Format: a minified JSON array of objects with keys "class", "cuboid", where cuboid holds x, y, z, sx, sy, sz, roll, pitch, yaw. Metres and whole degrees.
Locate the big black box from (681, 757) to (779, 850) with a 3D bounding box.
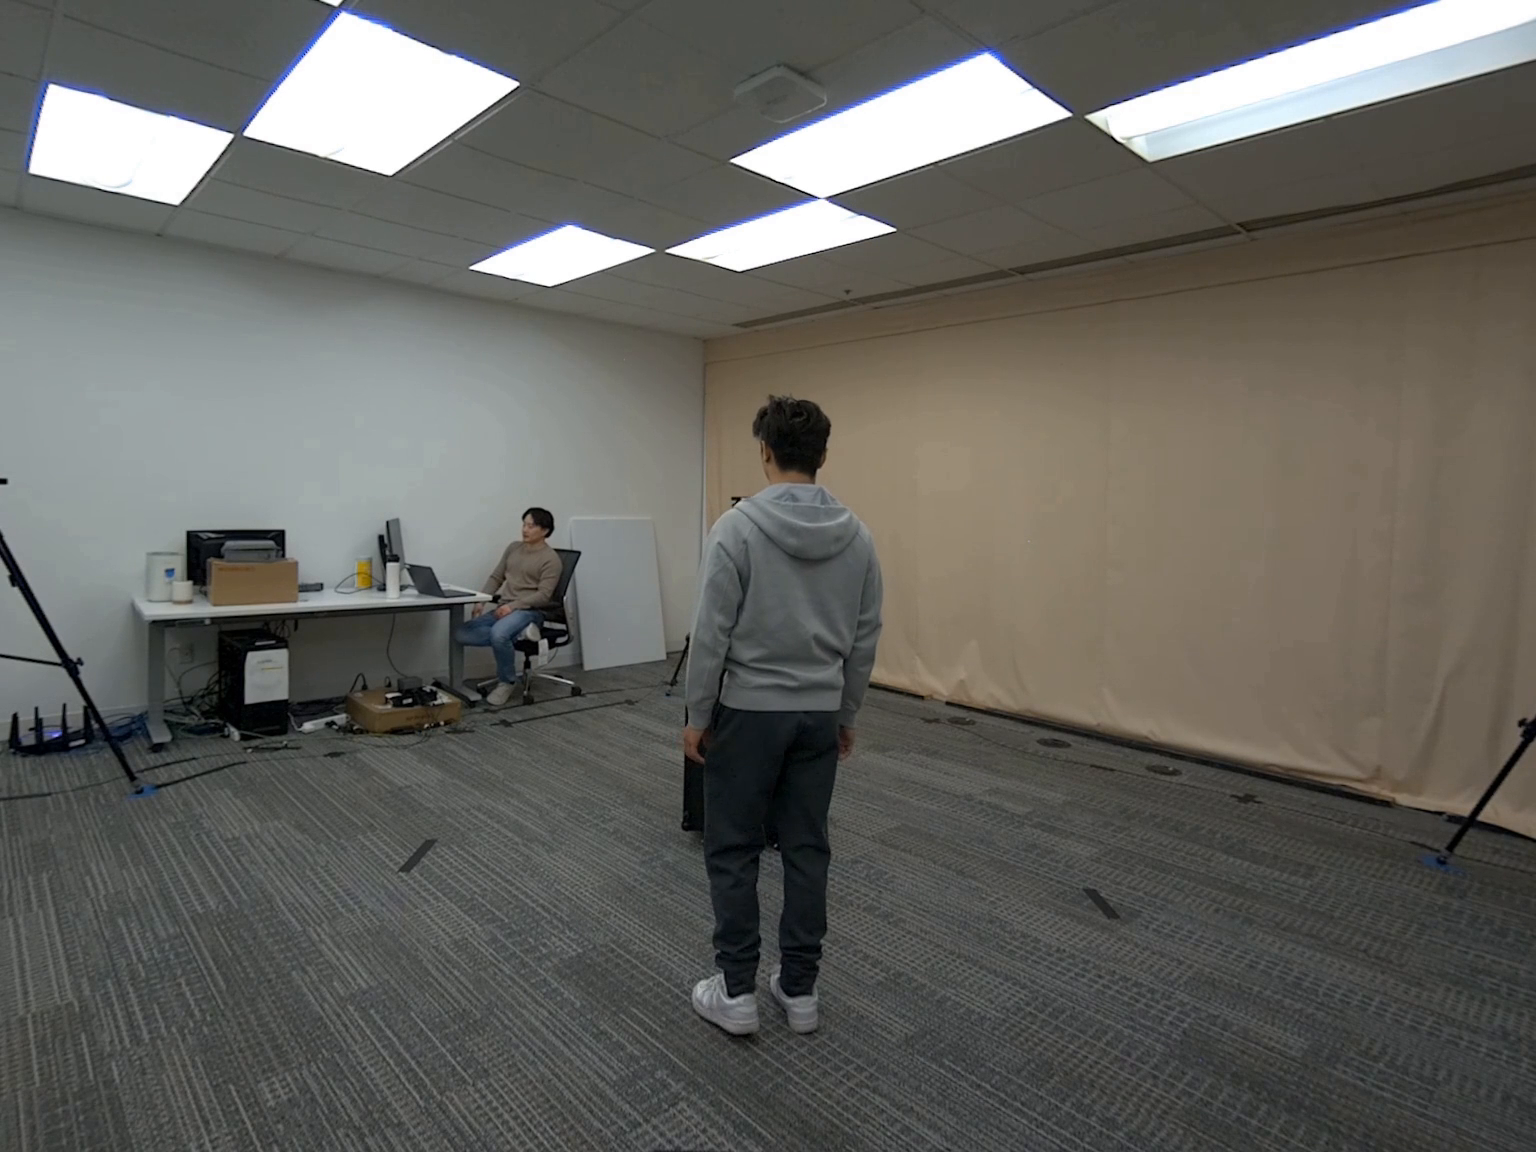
[{"class":"big black box","cuboid":[-0.092,0.659,3.477,0.522,0.859,0.397,3,4,1]}]
